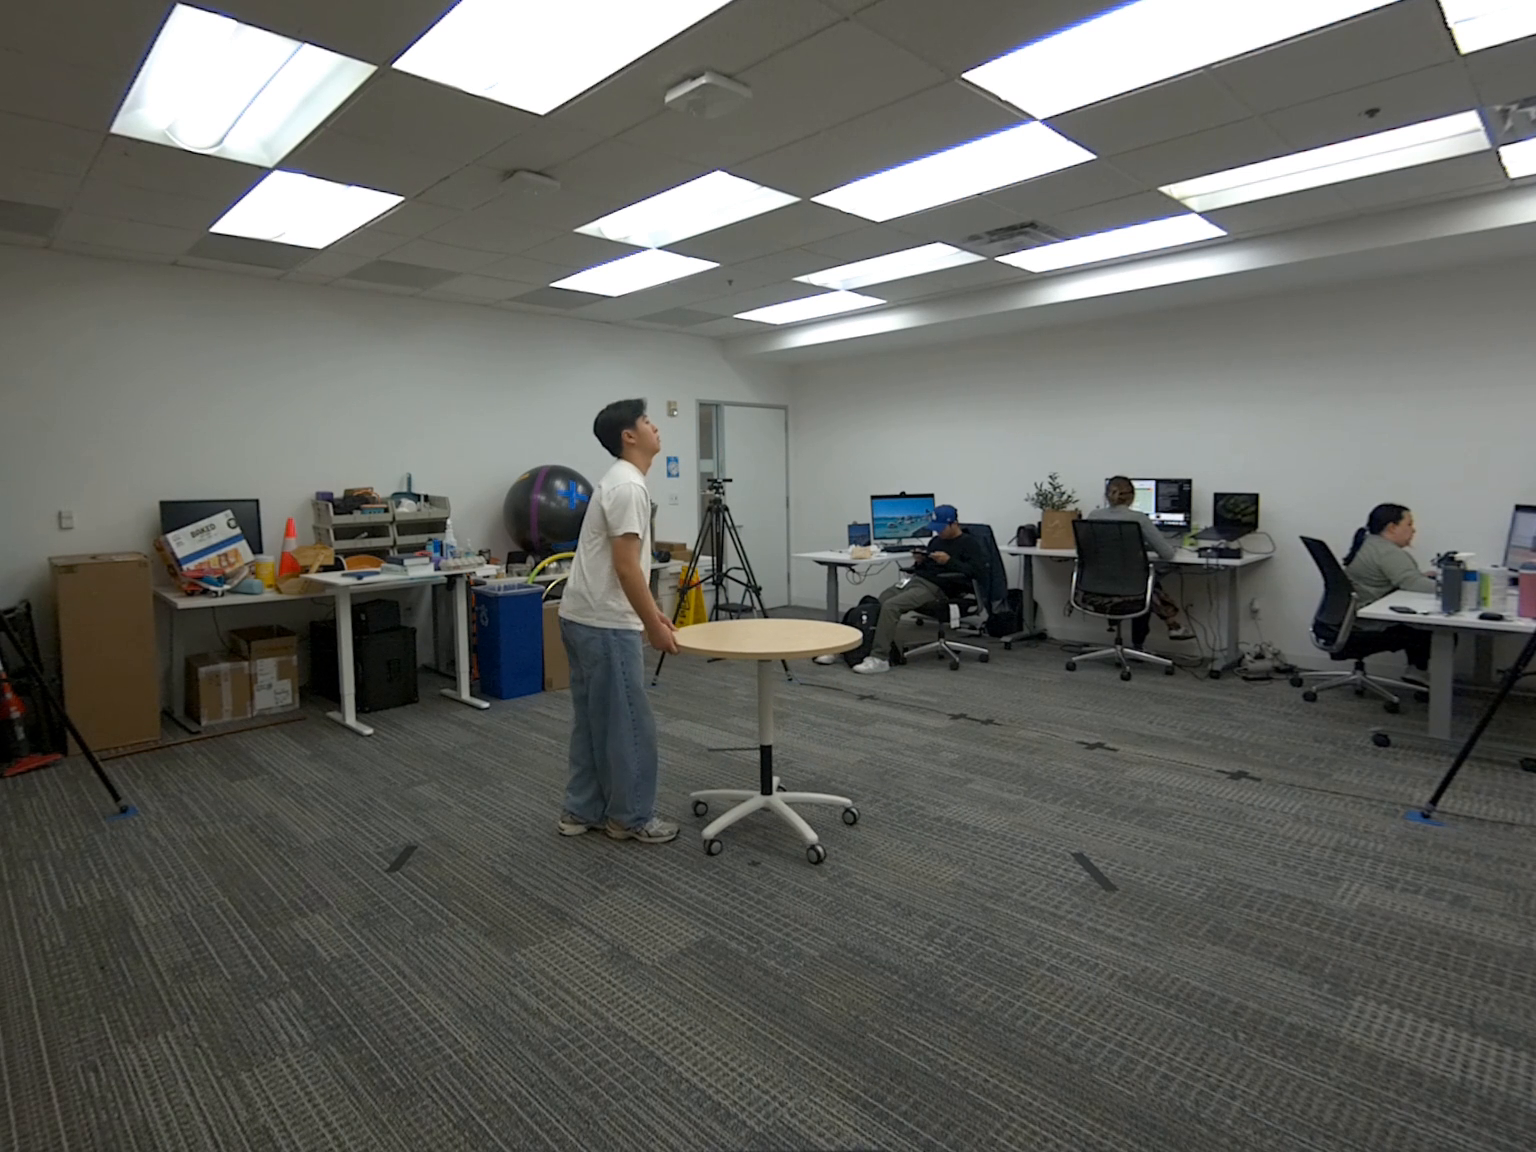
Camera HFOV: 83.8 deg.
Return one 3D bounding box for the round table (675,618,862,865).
[{"bbox_3d":[0.001,0.619,3.395,0.763,0.791,0.767,-1,4,-2],"label":"round table"}]
